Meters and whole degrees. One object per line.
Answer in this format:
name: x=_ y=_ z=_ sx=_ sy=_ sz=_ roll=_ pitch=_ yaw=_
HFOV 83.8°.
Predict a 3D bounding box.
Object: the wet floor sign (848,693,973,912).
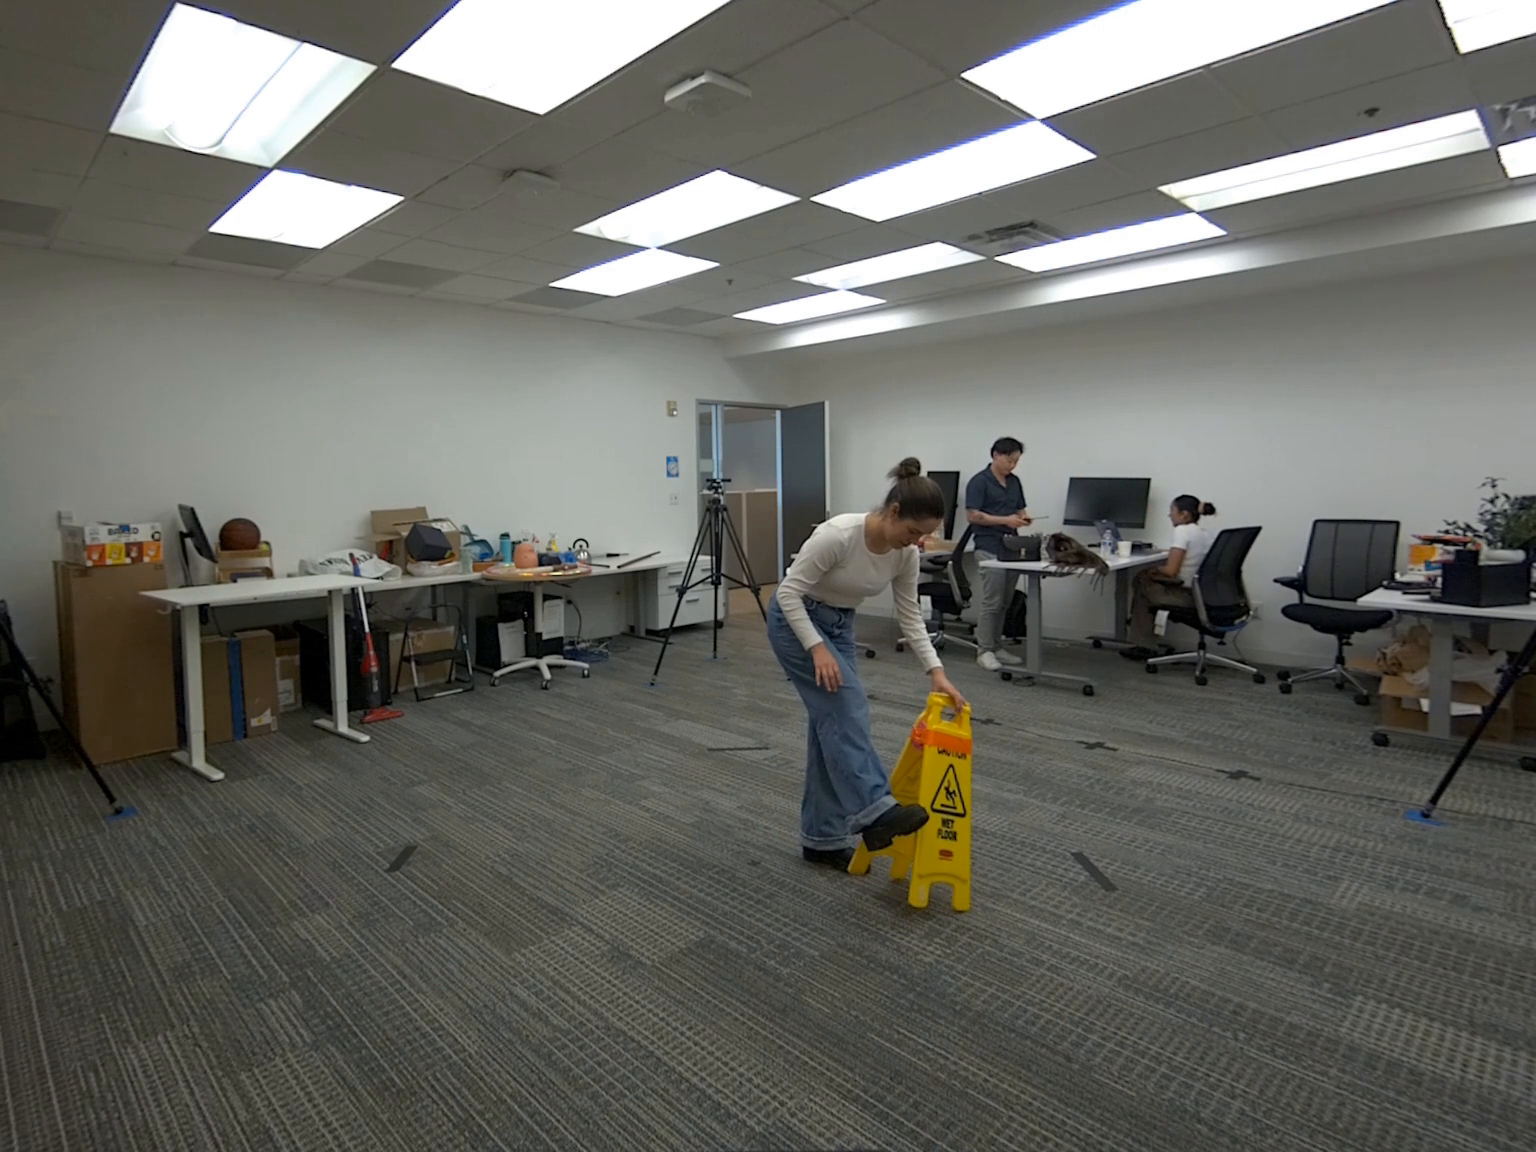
wet floor sign: x=0.534 y=0.719 z=2.830 sx=0.272 sy=0.649 sz=0.298 roll=21 pitch=-10 yaw=-36
